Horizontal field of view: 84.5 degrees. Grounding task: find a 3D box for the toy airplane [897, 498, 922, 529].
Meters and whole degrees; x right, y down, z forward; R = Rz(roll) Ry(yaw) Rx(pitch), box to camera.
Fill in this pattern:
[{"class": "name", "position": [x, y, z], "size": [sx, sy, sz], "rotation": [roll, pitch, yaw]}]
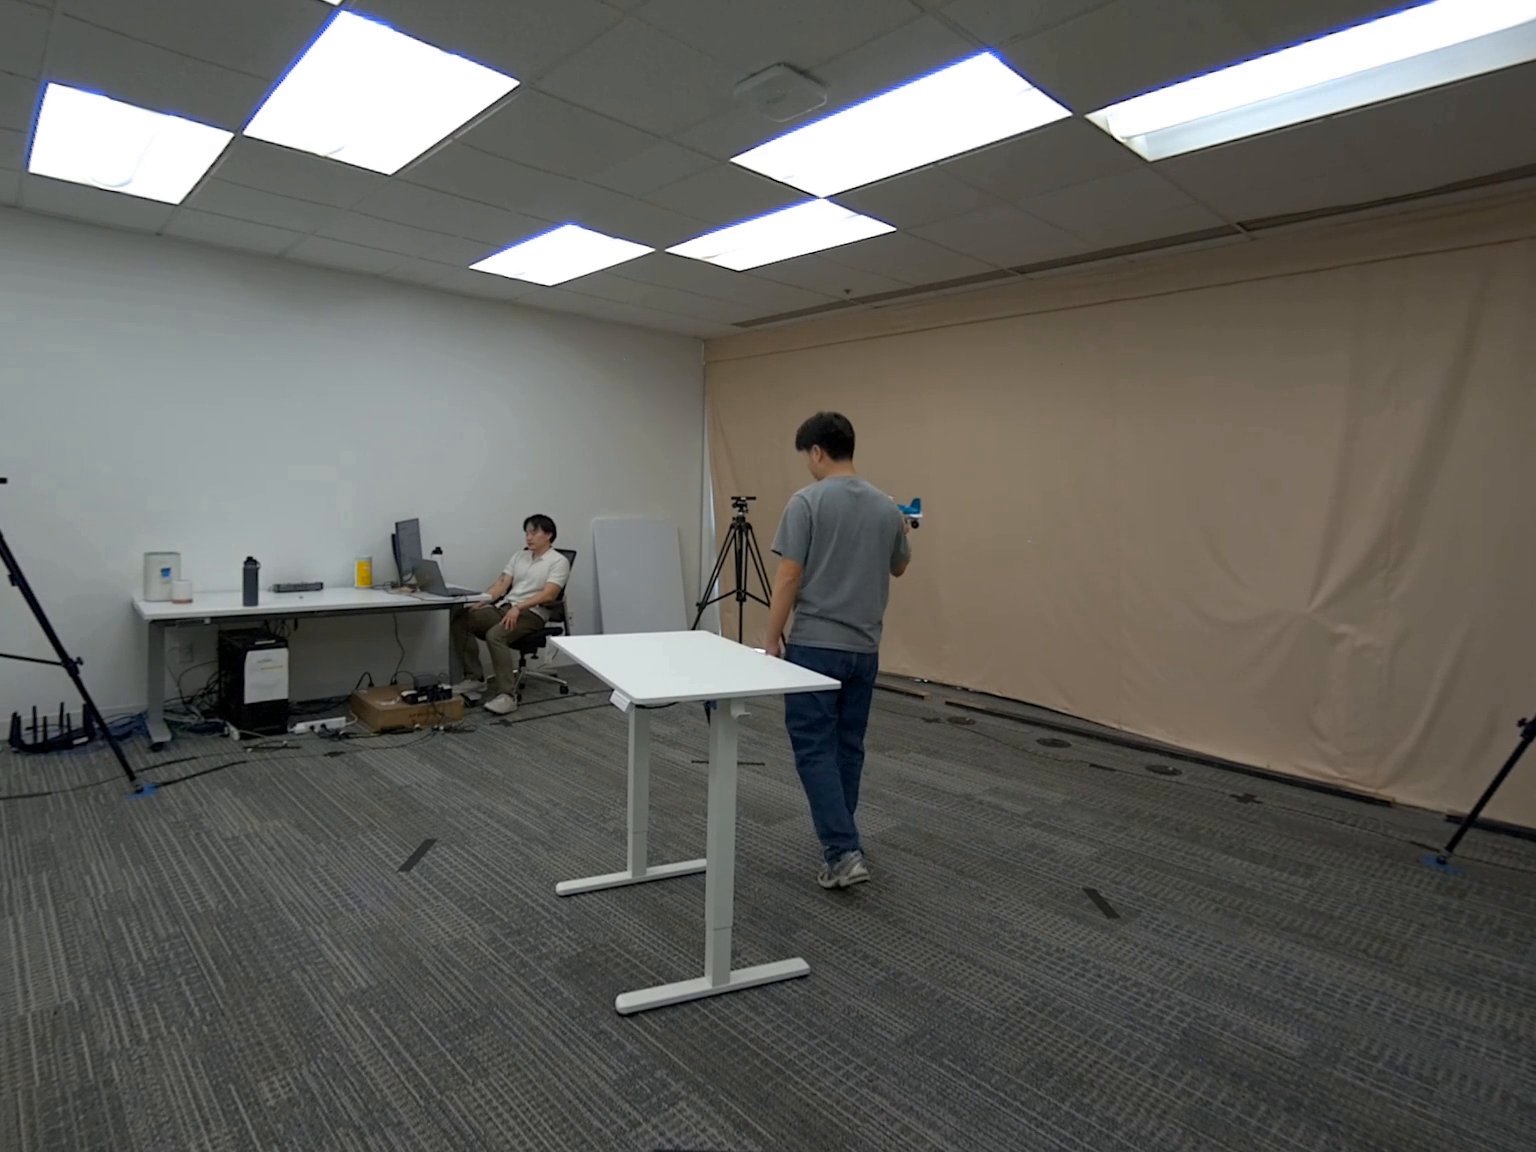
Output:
[{"class": "toy airplane", "position": [0.535, -0.265, 3.679], "size": [0.256, 0.154, 0.257], "rotation": [-19, 18, -21]}]
